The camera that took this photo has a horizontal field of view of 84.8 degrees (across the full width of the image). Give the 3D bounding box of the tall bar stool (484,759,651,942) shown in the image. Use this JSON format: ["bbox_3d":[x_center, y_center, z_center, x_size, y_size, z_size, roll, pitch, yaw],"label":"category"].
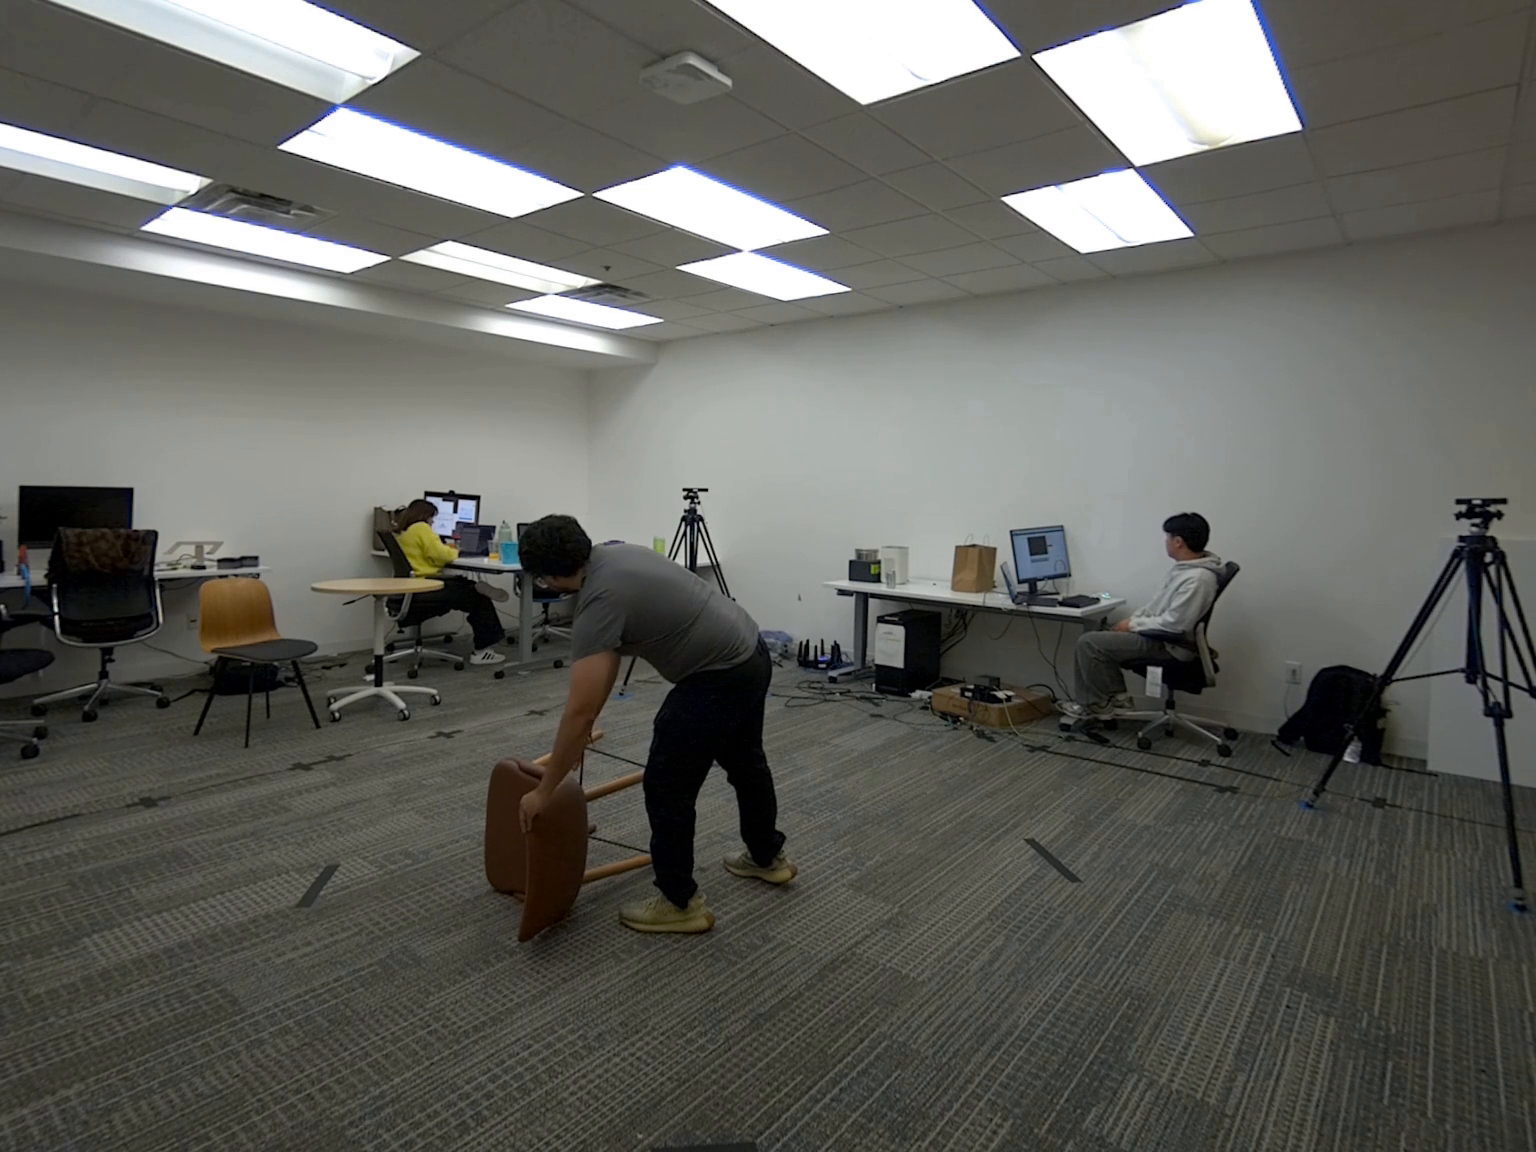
[{"bbox_3d":[-0.715,0.865,2.961,0.481,0.455,0.867,5,4,27],"label":"tall bar stool"}]
